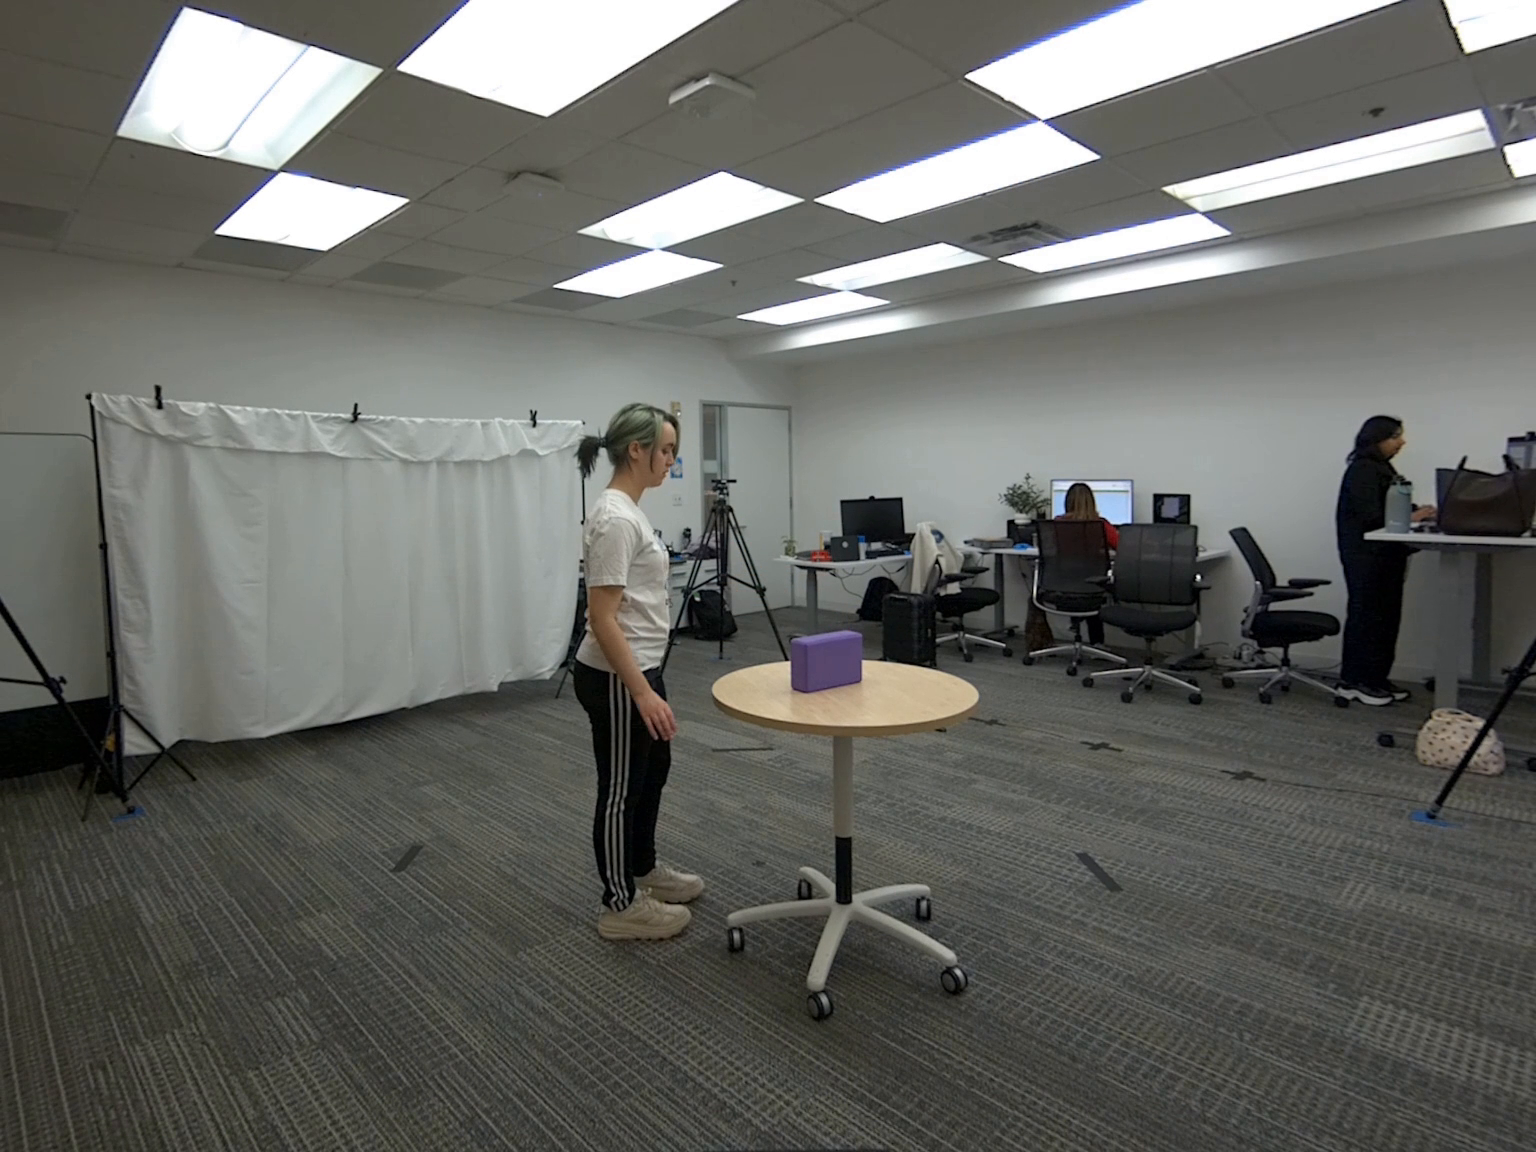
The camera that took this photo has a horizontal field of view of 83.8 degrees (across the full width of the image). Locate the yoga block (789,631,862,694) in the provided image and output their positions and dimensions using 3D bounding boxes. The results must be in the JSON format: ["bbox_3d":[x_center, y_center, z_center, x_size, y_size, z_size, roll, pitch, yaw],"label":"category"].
[{"bbox_3d":[0.176,0.249,2.515,0.223,0.148,0.079,-5,7,-36],"label":"yoga block"}]
